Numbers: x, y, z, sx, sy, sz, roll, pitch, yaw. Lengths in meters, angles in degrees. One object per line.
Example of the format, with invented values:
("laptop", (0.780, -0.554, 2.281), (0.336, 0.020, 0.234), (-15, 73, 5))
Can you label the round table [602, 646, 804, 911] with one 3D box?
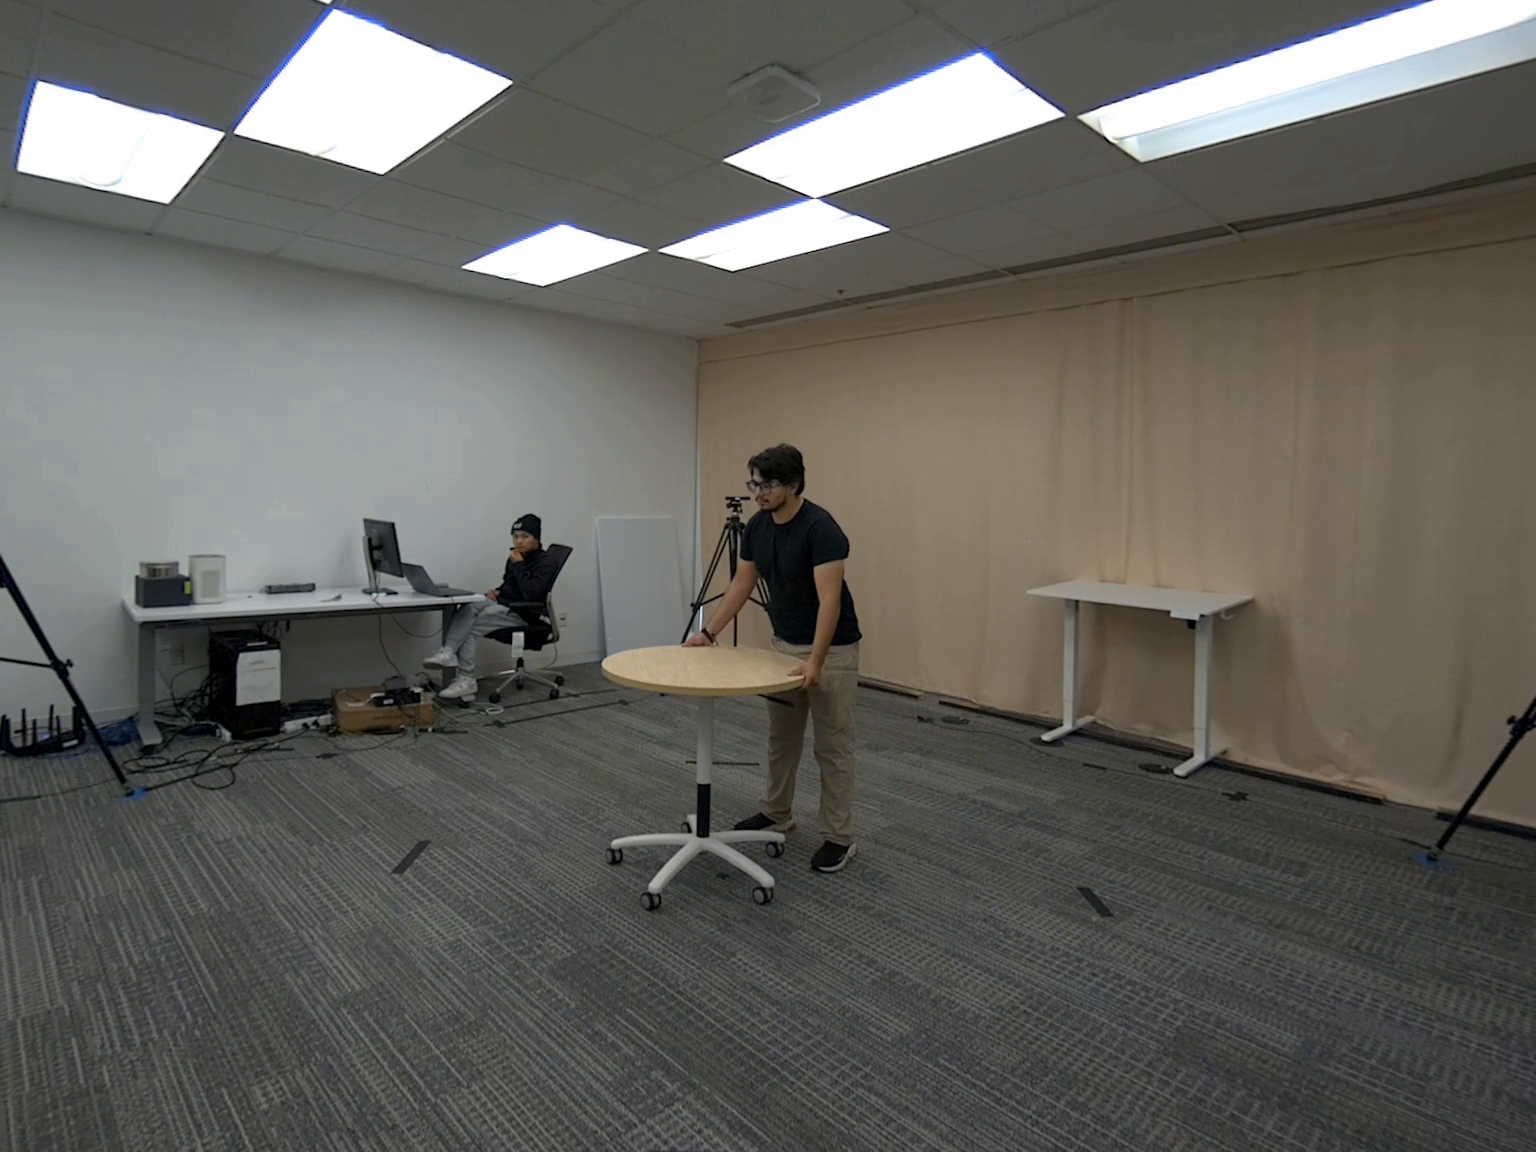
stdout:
("round table", (-0.234, 0.711, 3.089), (0.784, 0.784, 0.788), (1, 4, -1))
